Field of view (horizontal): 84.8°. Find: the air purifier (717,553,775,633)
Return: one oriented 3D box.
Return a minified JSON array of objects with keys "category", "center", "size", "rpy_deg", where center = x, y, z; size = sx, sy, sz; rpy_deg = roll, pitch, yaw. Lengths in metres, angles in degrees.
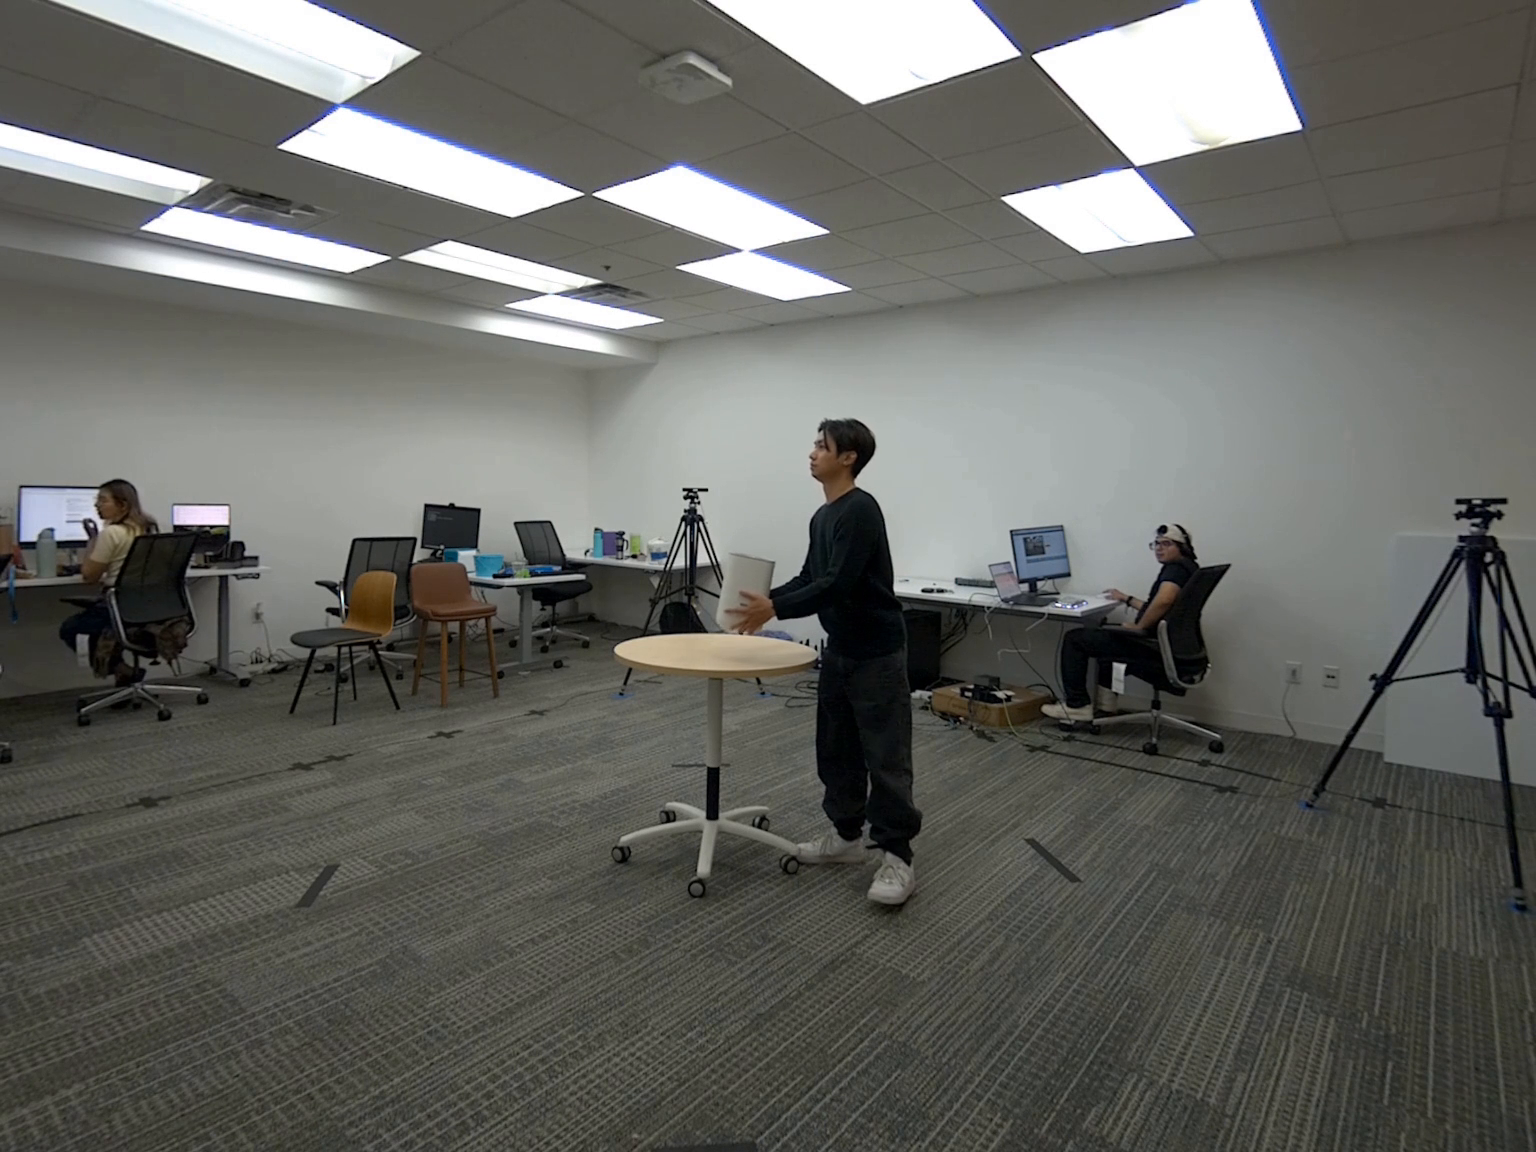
[{"category":"air purifier","center":[-0.087,0.056,3.055],"size":[0.170,0.265,0.173],"rpy_deg":[10,2,-5]}]
